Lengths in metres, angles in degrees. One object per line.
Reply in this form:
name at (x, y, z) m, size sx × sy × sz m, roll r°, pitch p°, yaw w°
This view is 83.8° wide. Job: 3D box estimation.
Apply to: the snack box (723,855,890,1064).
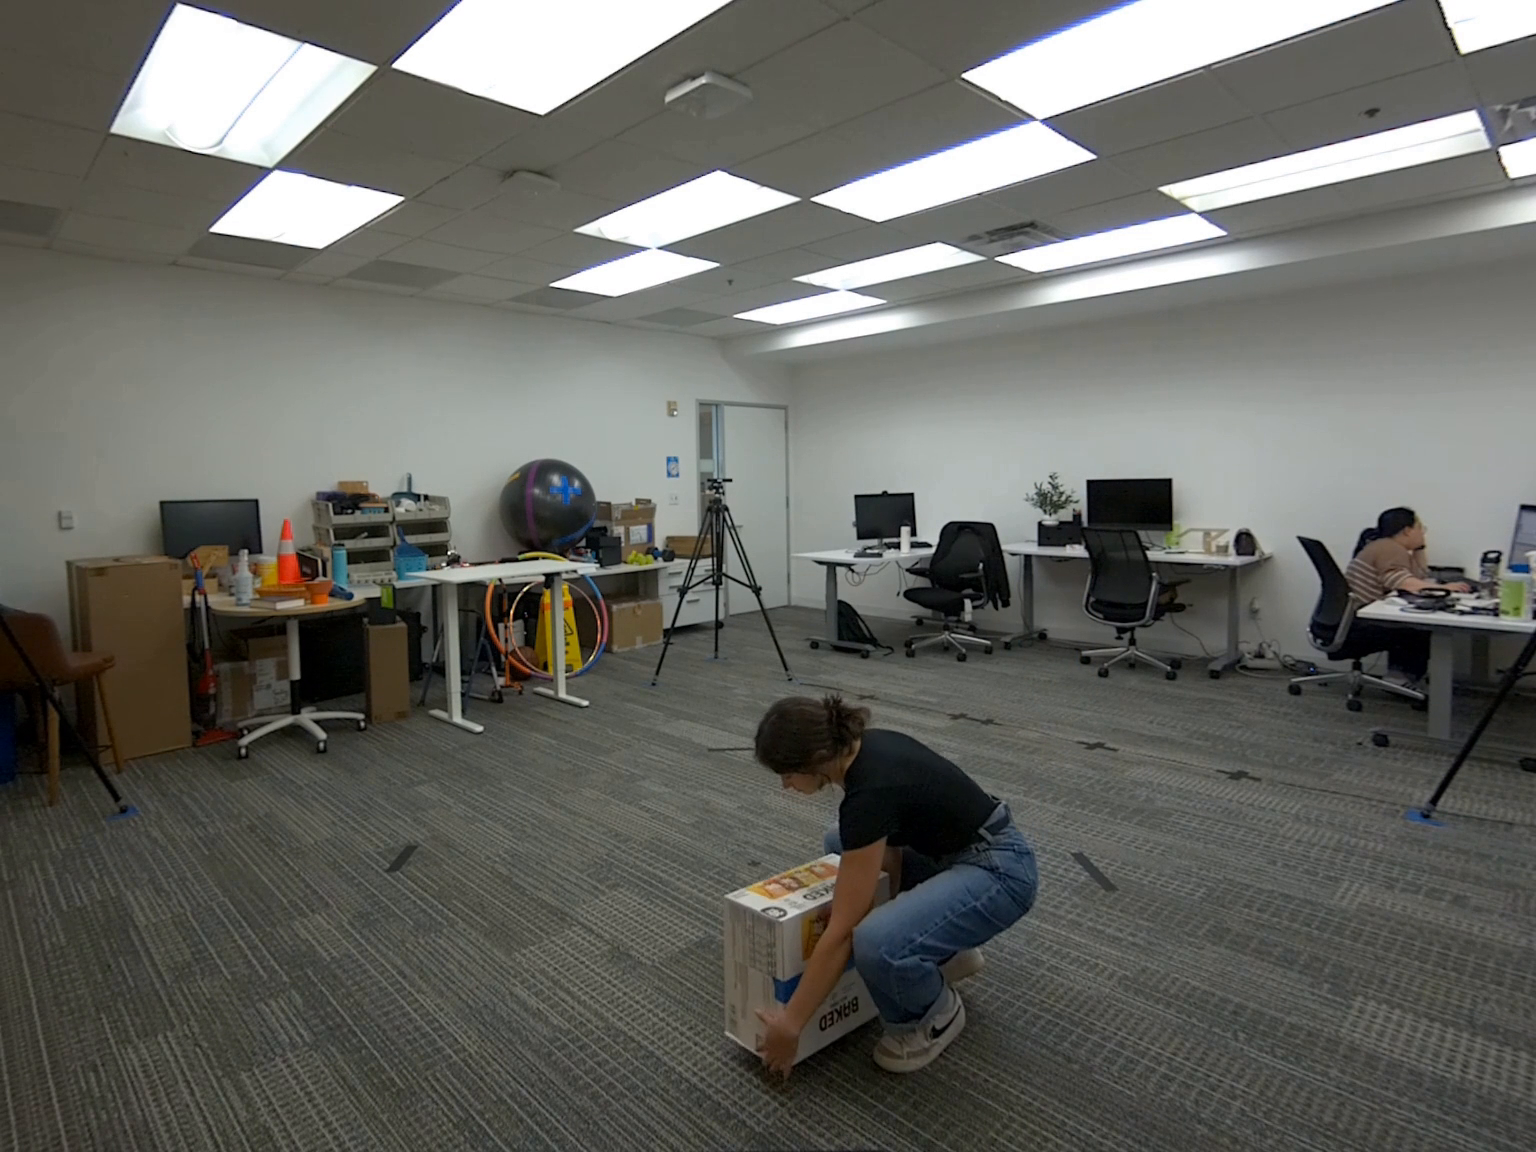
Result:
snack box at (0.108, 0.934, 2.142) m, size 0.394 × 0.340 × 0.211 m, roll -2°, pitch 0°, yaw -44°
